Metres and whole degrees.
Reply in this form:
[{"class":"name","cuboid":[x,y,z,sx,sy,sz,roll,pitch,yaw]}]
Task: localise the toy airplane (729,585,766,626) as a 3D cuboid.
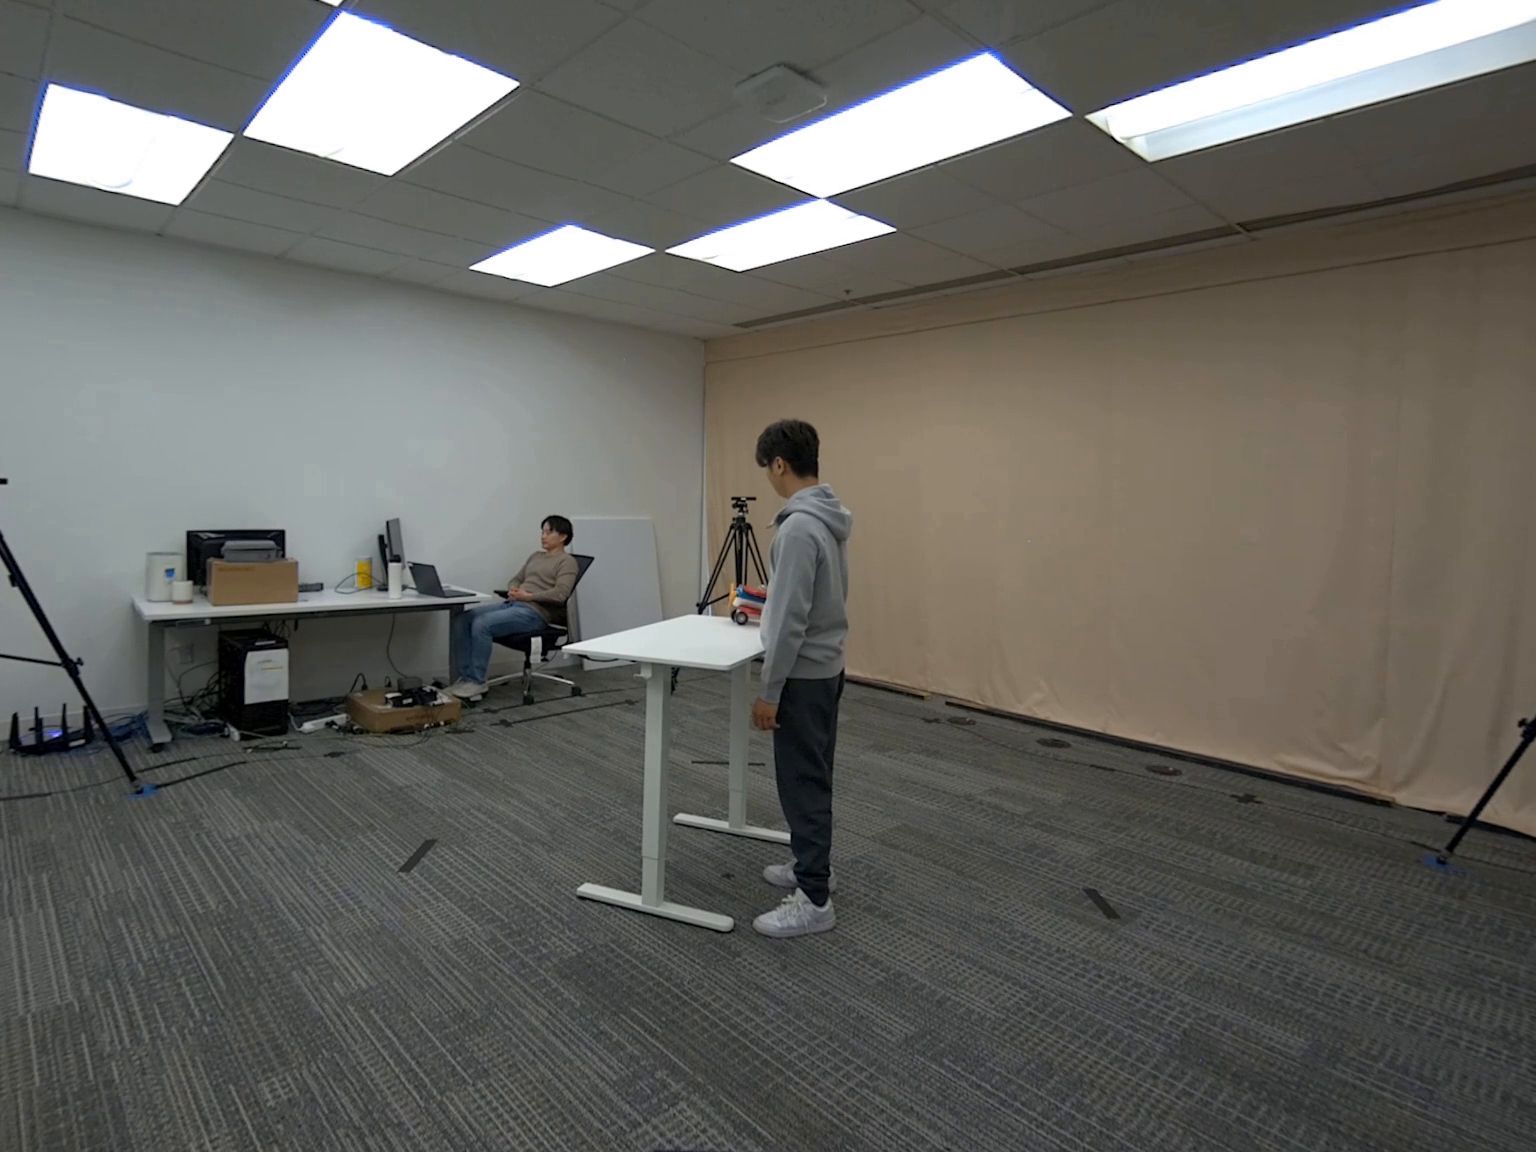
[{"class":"toy airplane","cuboid":[-0.046,0.117,3.493,0.253,0.156,0.257,-2,6,-40]}]
